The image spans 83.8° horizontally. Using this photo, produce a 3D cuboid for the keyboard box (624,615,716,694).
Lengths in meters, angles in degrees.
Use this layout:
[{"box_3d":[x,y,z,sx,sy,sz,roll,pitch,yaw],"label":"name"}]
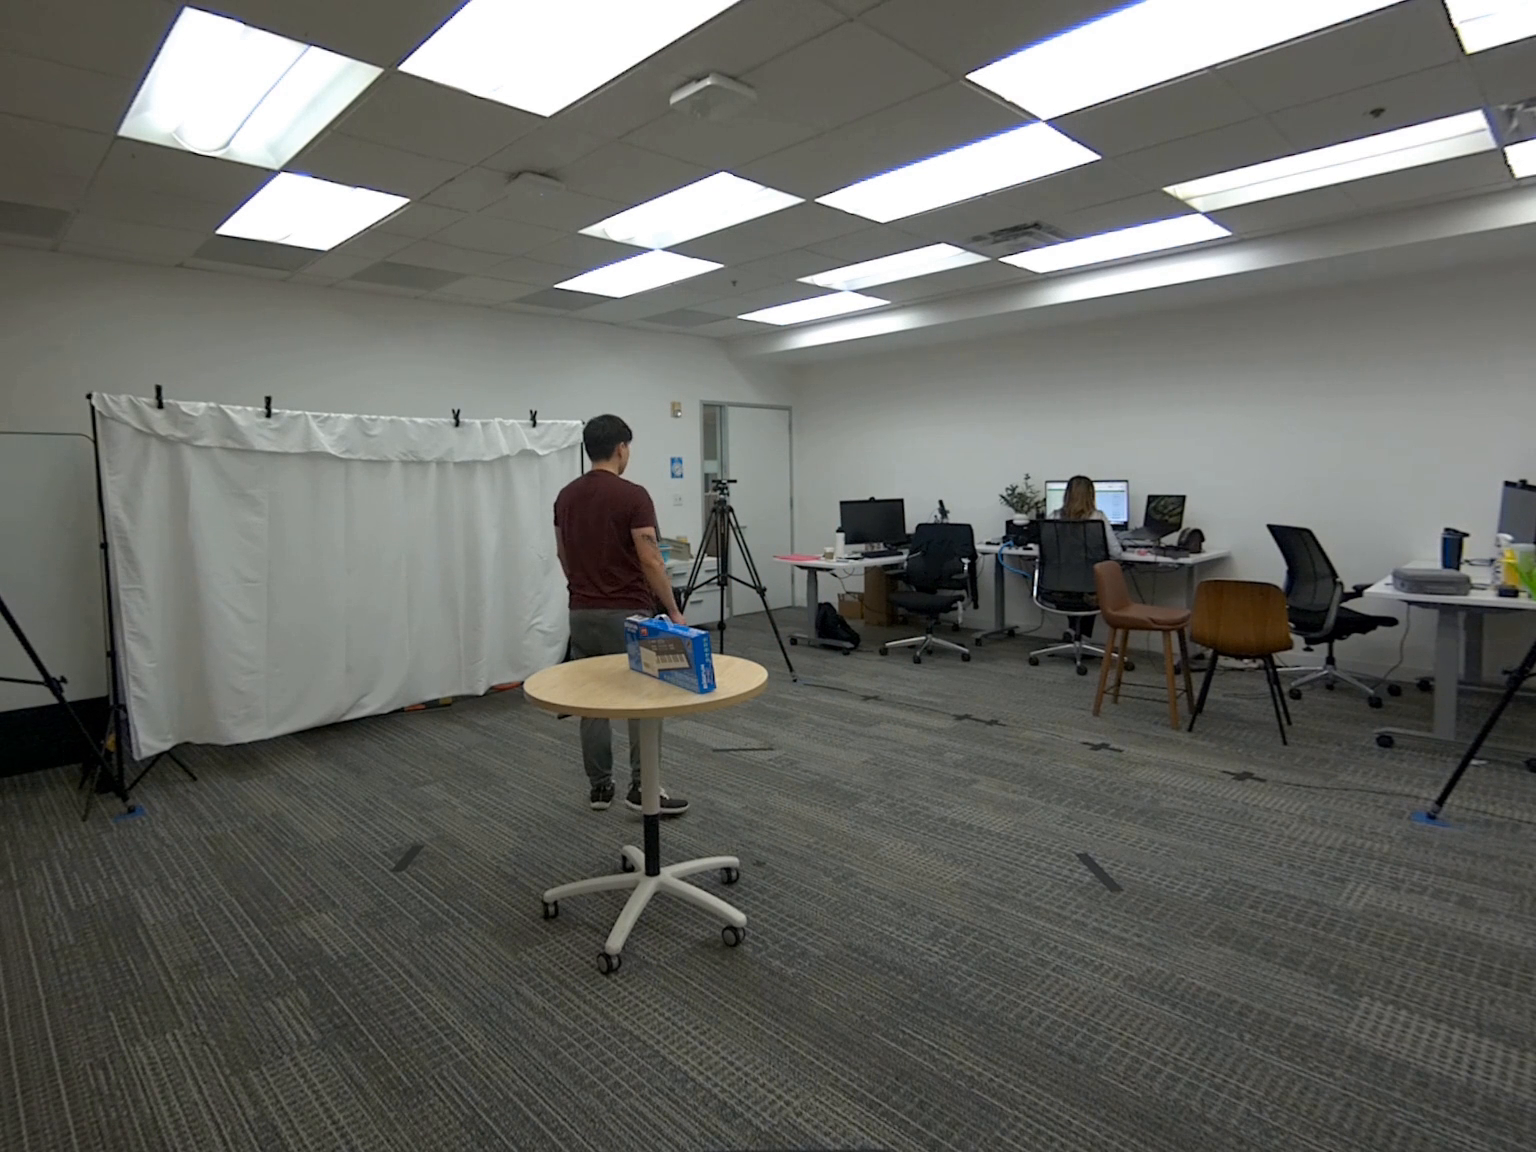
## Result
[{"box_3d":[-0.312,0.237,2.640,0.058,0.174,0.450,-12,11,-35],"label":"keyboard box"}]
